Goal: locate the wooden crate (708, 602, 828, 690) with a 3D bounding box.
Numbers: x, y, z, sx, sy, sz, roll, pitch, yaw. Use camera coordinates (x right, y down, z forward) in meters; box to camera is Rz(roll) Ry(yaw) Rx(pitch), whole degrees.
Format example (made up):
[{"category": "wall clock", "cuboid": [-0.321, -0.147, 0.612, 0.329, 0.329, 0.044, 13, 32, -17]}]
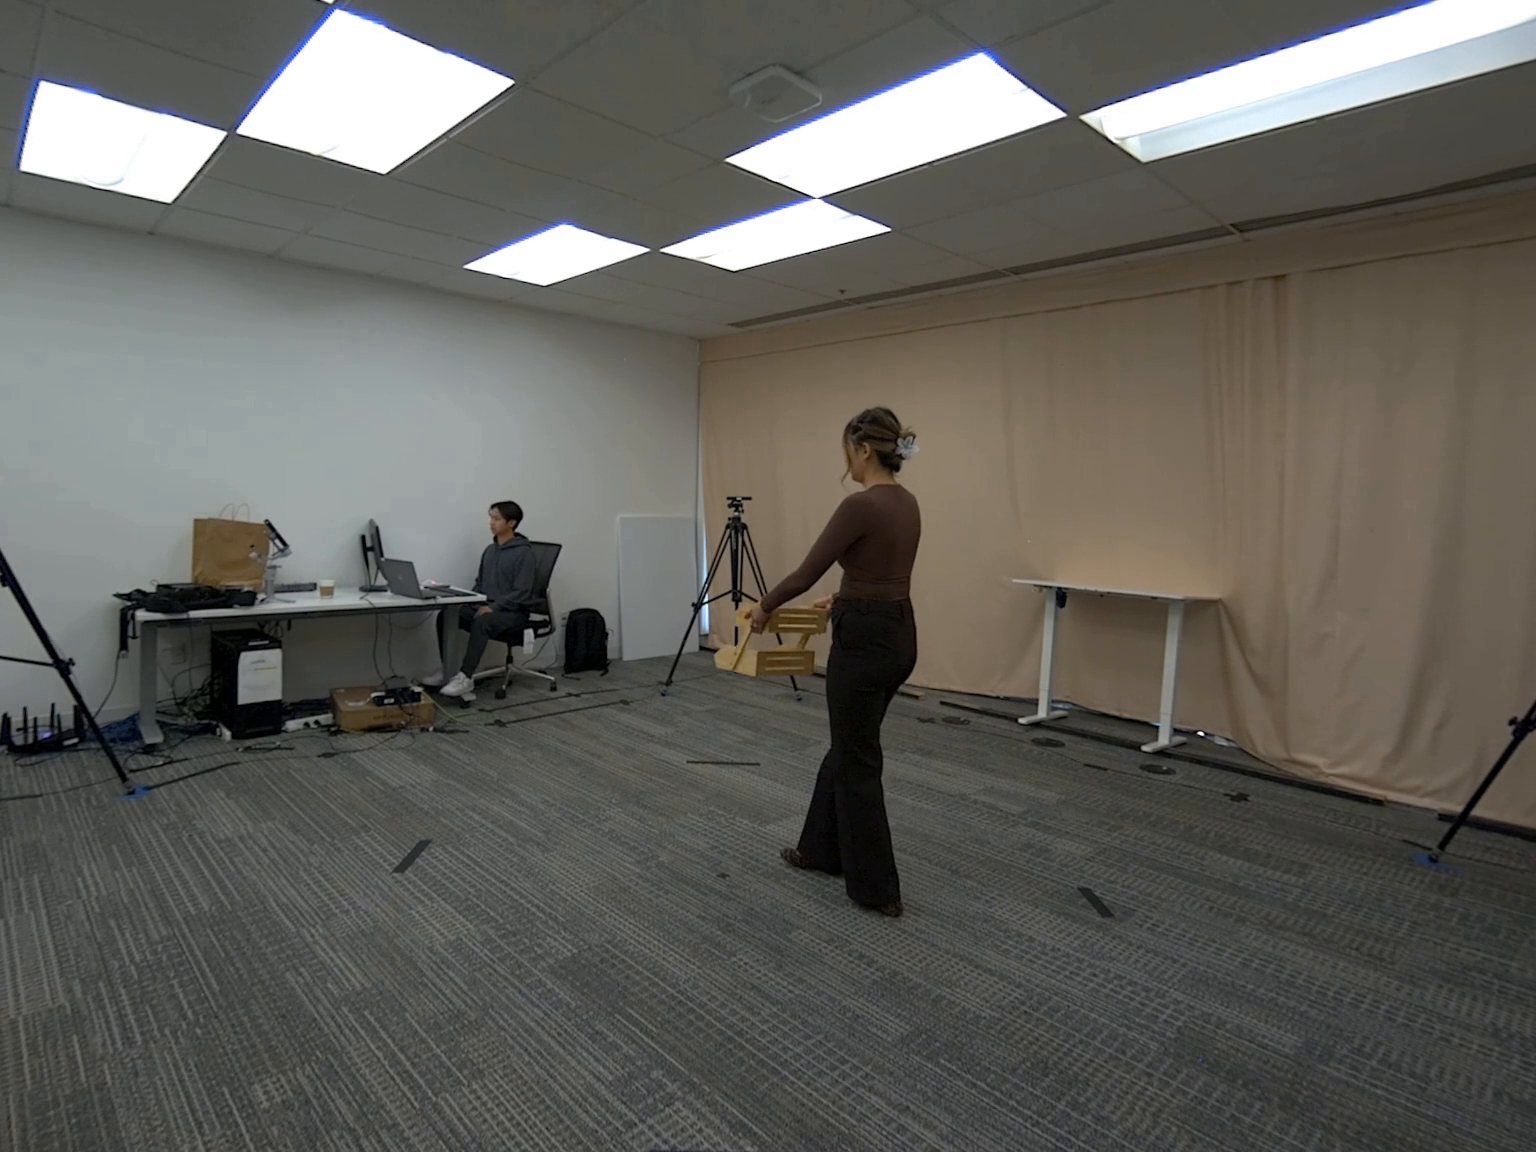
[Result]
[{"category": "wooden crate", "cuboid": [0.005, 0.236, 3.259, 0.316, 0.273, 0.310, 4, 1, -41]}]
